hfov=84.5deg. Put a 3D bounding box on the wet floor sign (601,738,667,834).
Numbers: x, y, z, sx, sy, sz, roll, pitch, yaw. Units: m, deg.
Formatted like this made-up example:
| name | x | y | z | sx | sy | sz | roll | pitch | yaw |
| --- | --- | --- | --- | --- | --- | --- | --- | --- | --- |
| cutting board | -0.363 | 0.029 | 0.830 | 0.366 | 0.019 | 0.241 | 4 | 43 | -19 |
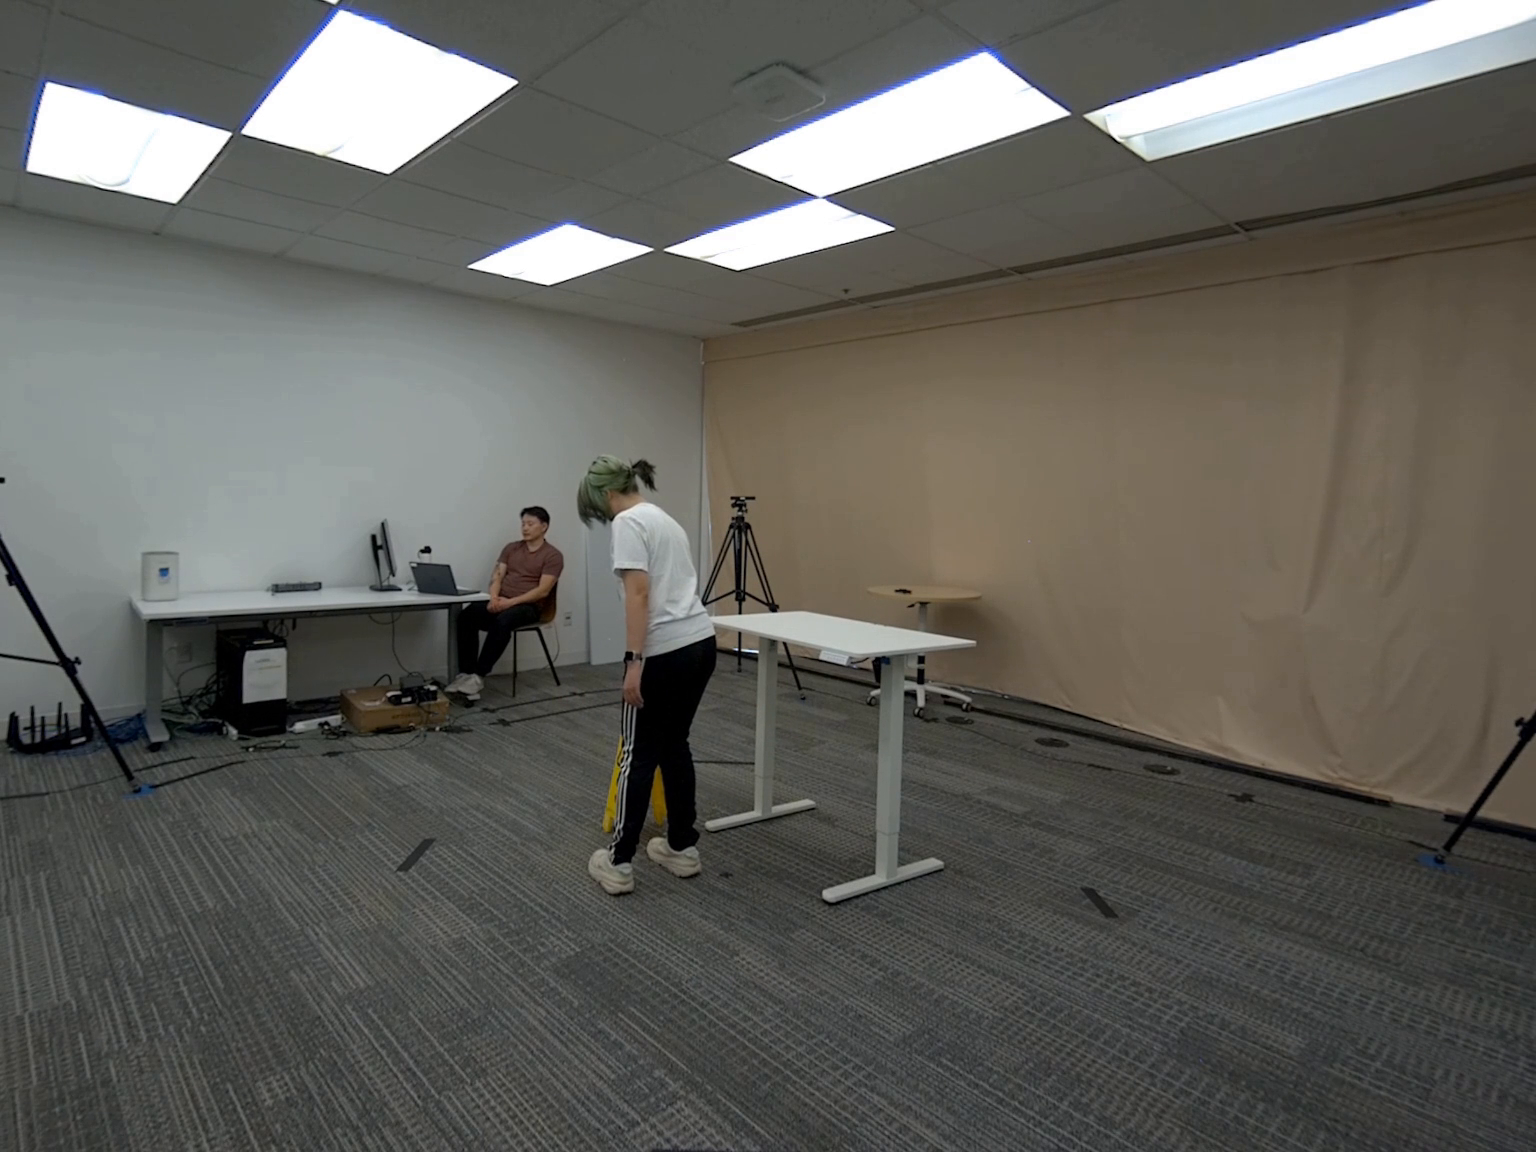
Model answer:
| name | x | y | z | sx | sy | sz | roll | pitch | yaw |
| --- | --- | --- | --- | --- | --- | --- | --- | --- | --- |
| wet floor sign | -0.526 | 0.744 | 3.439 | 0.285 | 0.645 | 0.288 | 0 | 3 | -24 |
